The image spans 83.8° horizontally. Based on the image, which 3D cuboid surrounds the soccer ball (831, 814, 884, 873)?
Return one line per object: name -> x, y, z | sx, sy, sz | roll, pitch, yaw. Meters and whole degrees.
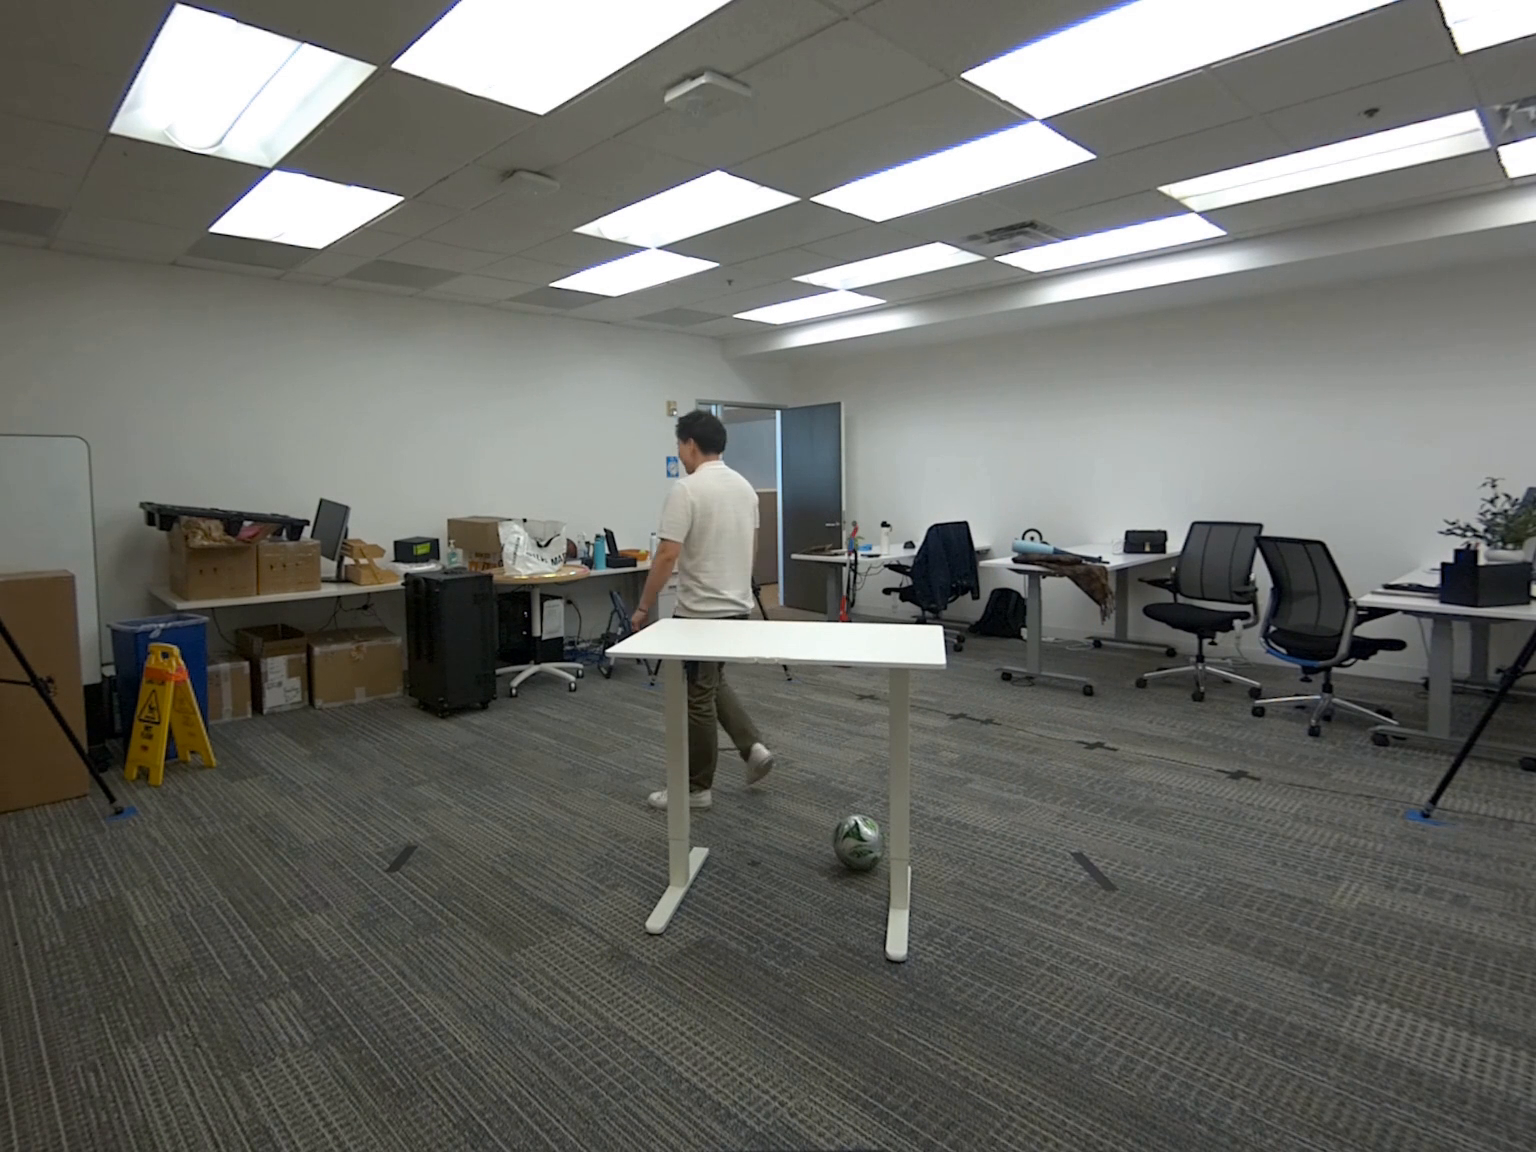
soccer ball -> 0.328, 0.950, 3.053 | 0.187, 0.187, 0.188 | -1, 5, -2
